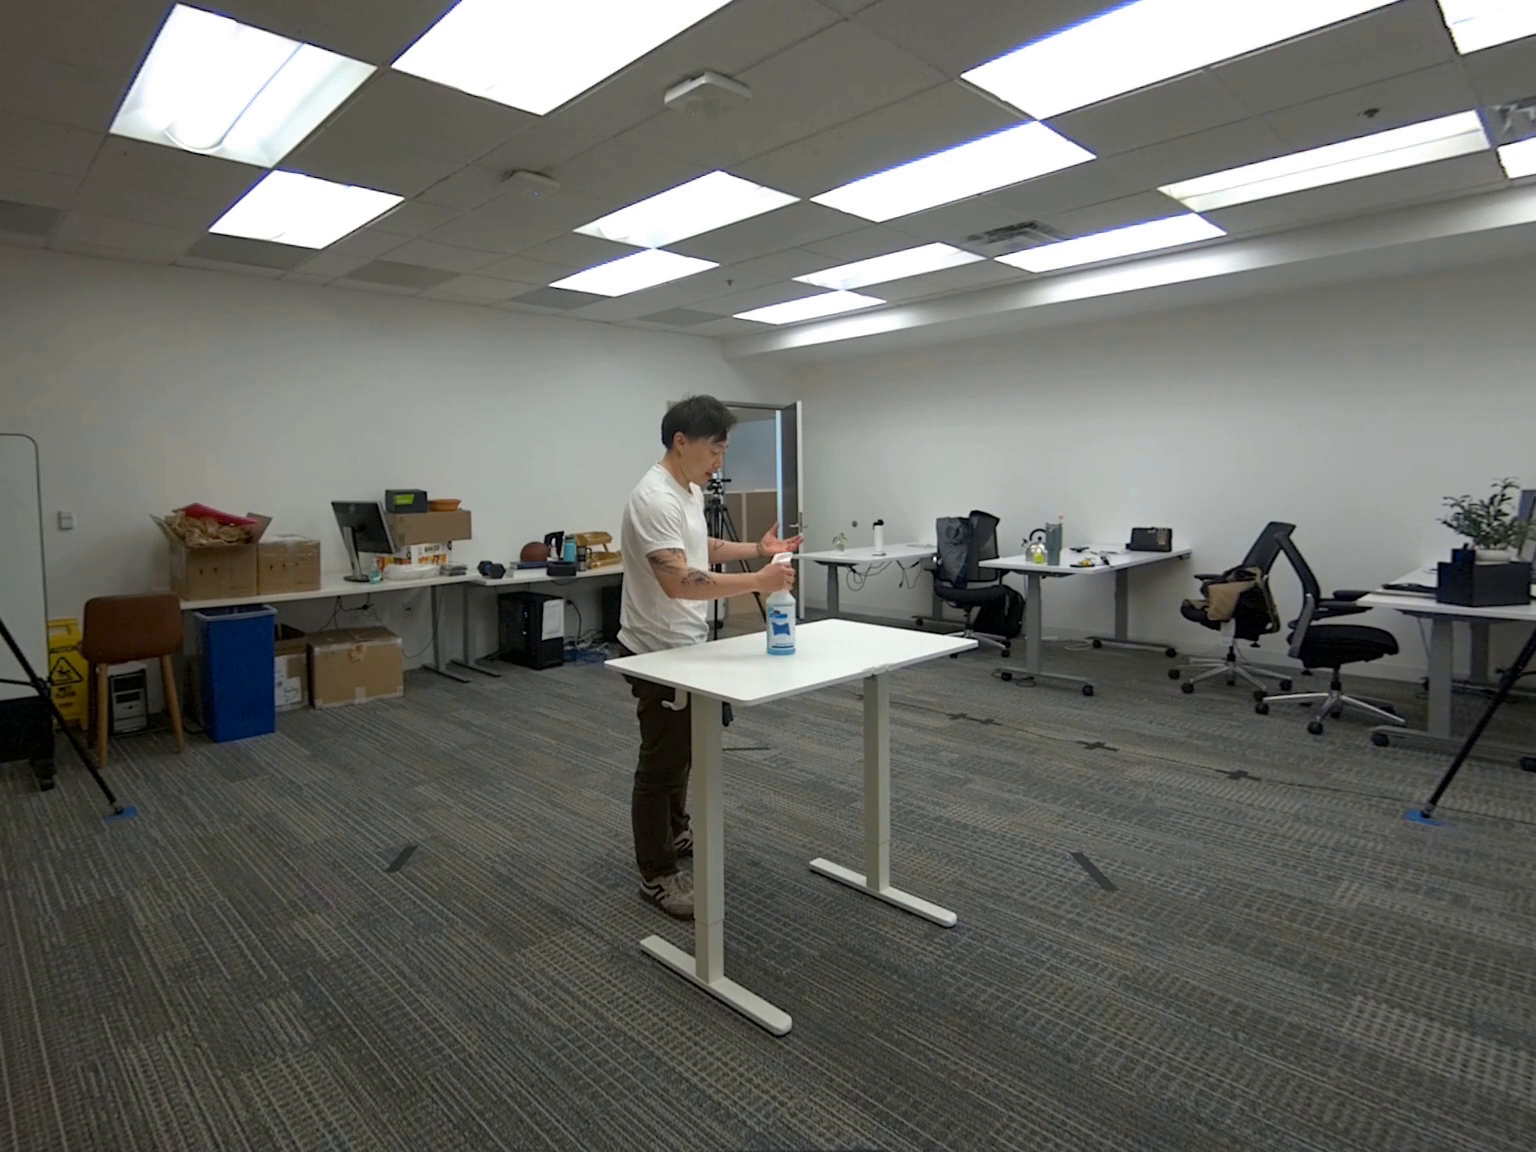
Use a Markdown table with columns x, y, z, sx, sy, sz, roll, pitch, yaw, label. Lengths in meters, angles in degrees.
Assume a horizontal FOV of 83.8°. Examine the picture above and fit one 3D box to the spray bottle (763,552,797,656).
| x | y | z | sx | sy | sz | roll | pitch | yaw | label |
| --- | --- | --- | --- | --- | --- | --- | --- | --- | --- |
| 0.039 | 0.083 | 2.531 | 0.088 | 0.296 | 0.089 | 1 | 4 | -21 | spray bottle |
